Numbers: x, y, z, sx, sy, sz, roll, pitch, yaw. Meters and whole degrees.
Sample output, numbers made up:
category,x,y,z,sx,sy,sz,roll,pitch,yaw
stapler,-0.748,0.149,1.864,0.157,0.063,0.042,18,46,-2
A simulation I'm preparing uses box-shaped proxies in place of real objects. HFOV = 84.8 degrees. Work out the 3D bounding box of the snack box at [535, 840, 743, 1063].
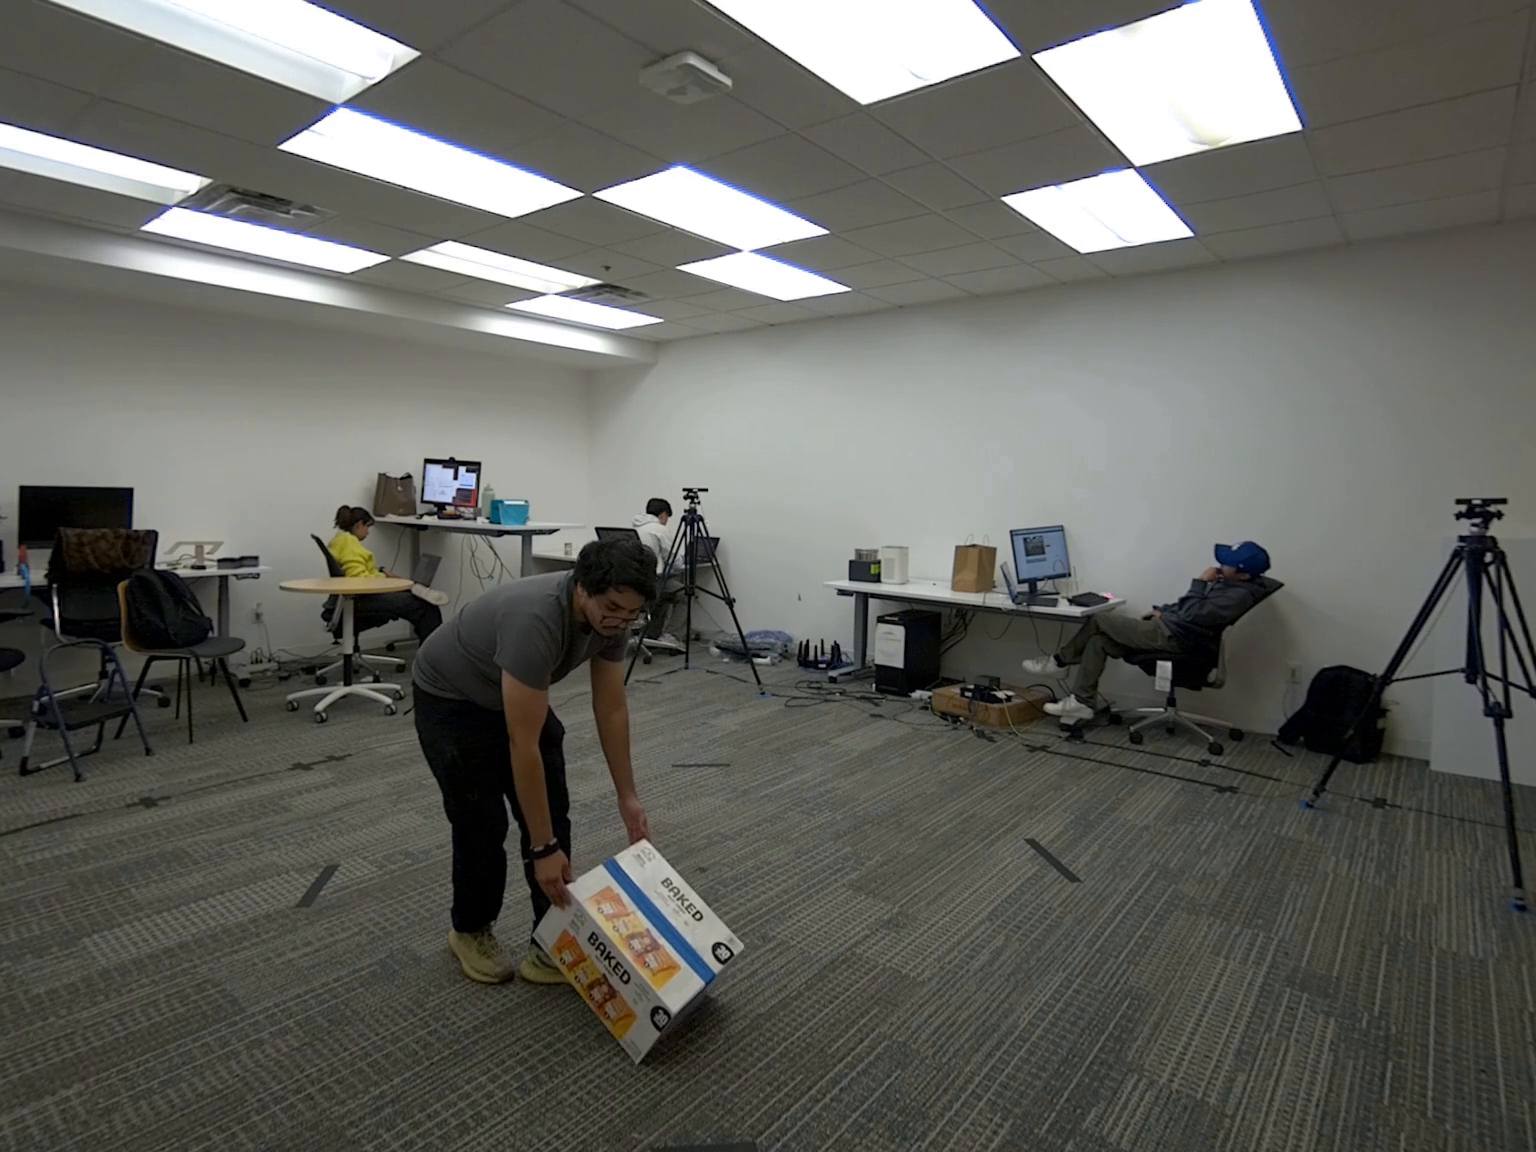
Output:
category,x,y,z,sx,sy,sz,roll,pitch,yaw
snack box,-0.339,0.963,2.232,0.417,0.204,0.332,40,22,21
